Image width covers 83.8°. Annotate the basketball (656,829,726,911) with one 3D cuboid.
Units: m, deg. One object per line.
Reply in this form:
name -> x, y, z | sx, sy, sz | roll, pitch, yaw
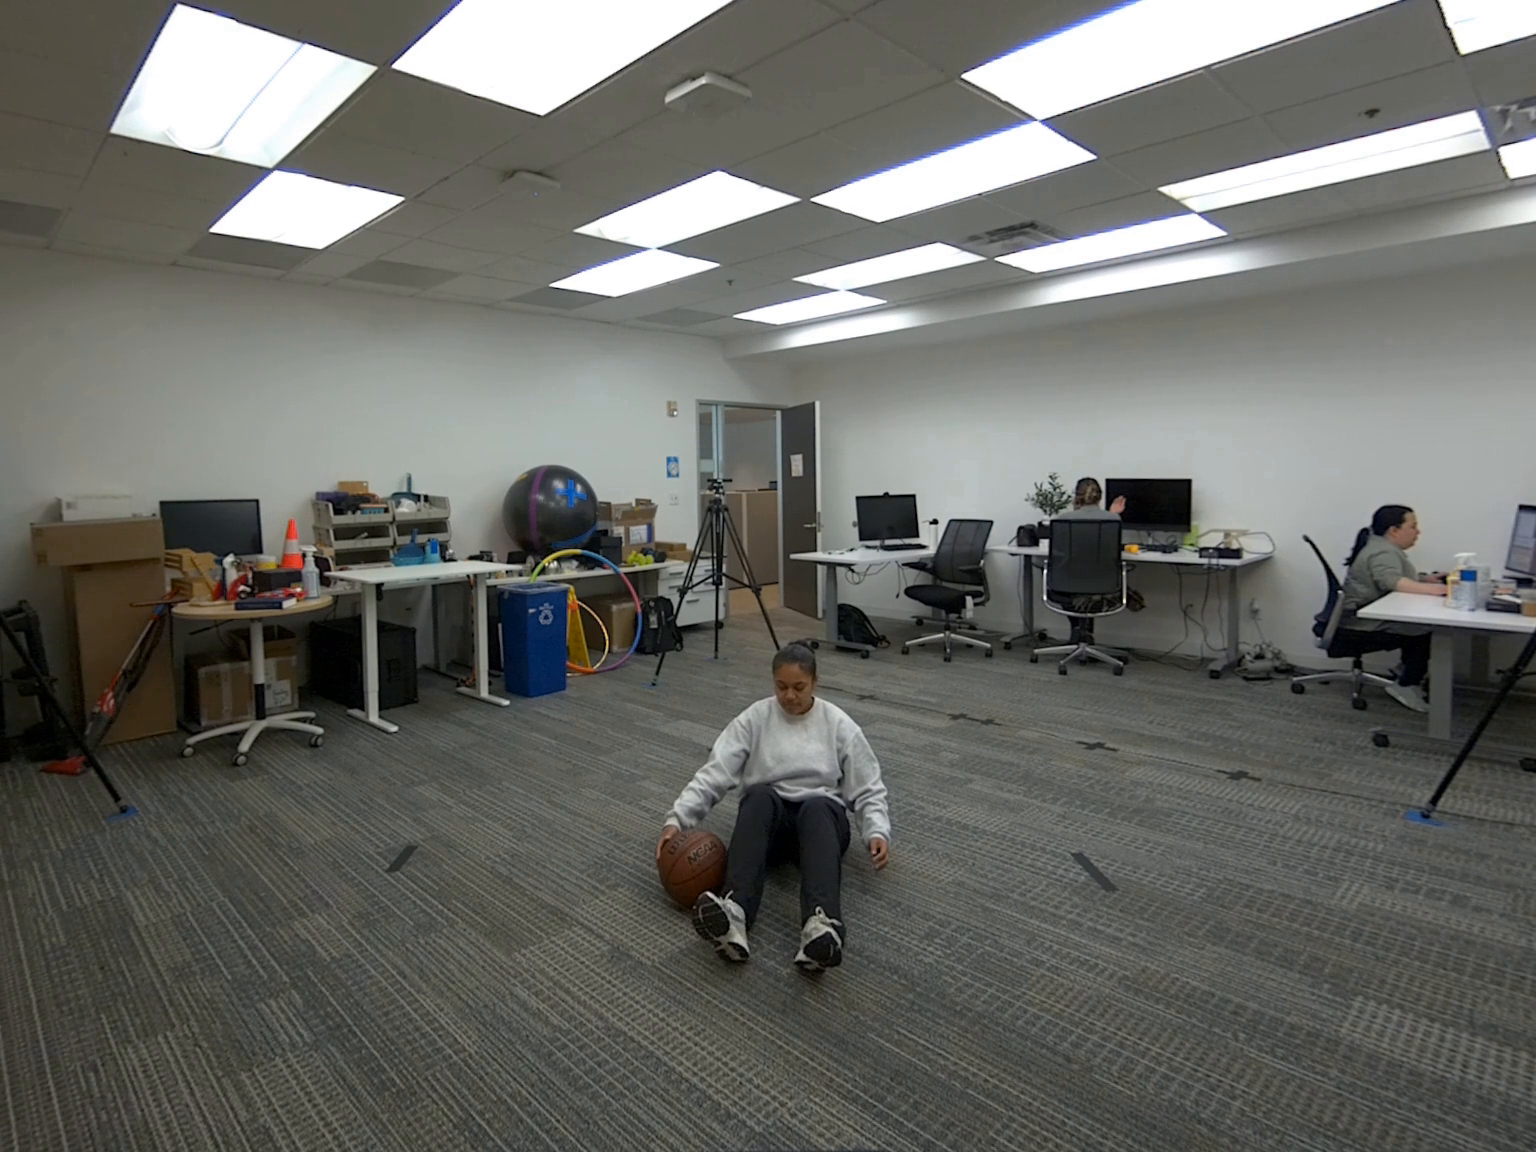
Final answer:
basketball -> -0.241, 0.963, 2.827 | 0.236, 0.235, 0.237 | -1, 5, -2
